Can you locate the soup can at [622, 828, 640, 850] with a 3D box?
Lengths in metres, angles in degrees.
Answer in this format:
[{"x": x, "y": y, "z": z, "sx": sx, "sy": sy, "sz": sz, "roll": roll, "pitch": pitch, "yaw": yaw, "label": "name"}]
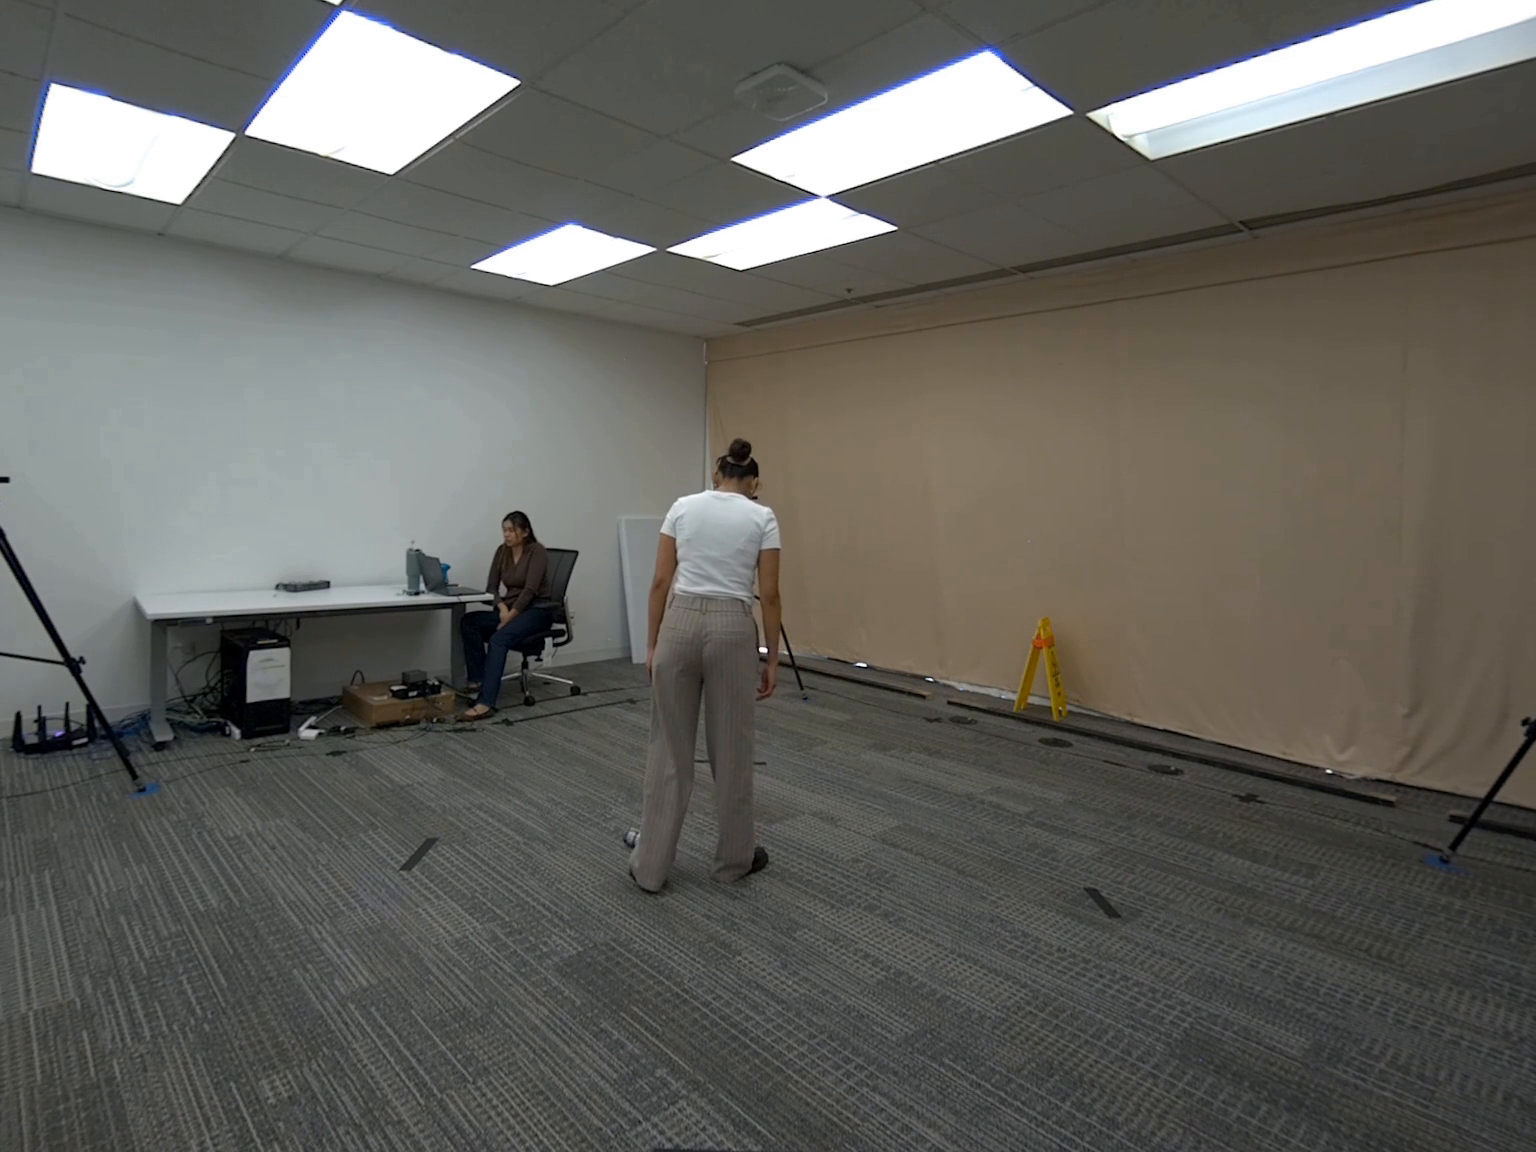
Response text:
[{"x": -0.517, "y": 1.042, "z": 3.318, "sx": 0.124, "sy": 0.067, "sz": 0.065, "roll": 4, "pitch": 5, "yaw": 39, "label": "soup can"}]
